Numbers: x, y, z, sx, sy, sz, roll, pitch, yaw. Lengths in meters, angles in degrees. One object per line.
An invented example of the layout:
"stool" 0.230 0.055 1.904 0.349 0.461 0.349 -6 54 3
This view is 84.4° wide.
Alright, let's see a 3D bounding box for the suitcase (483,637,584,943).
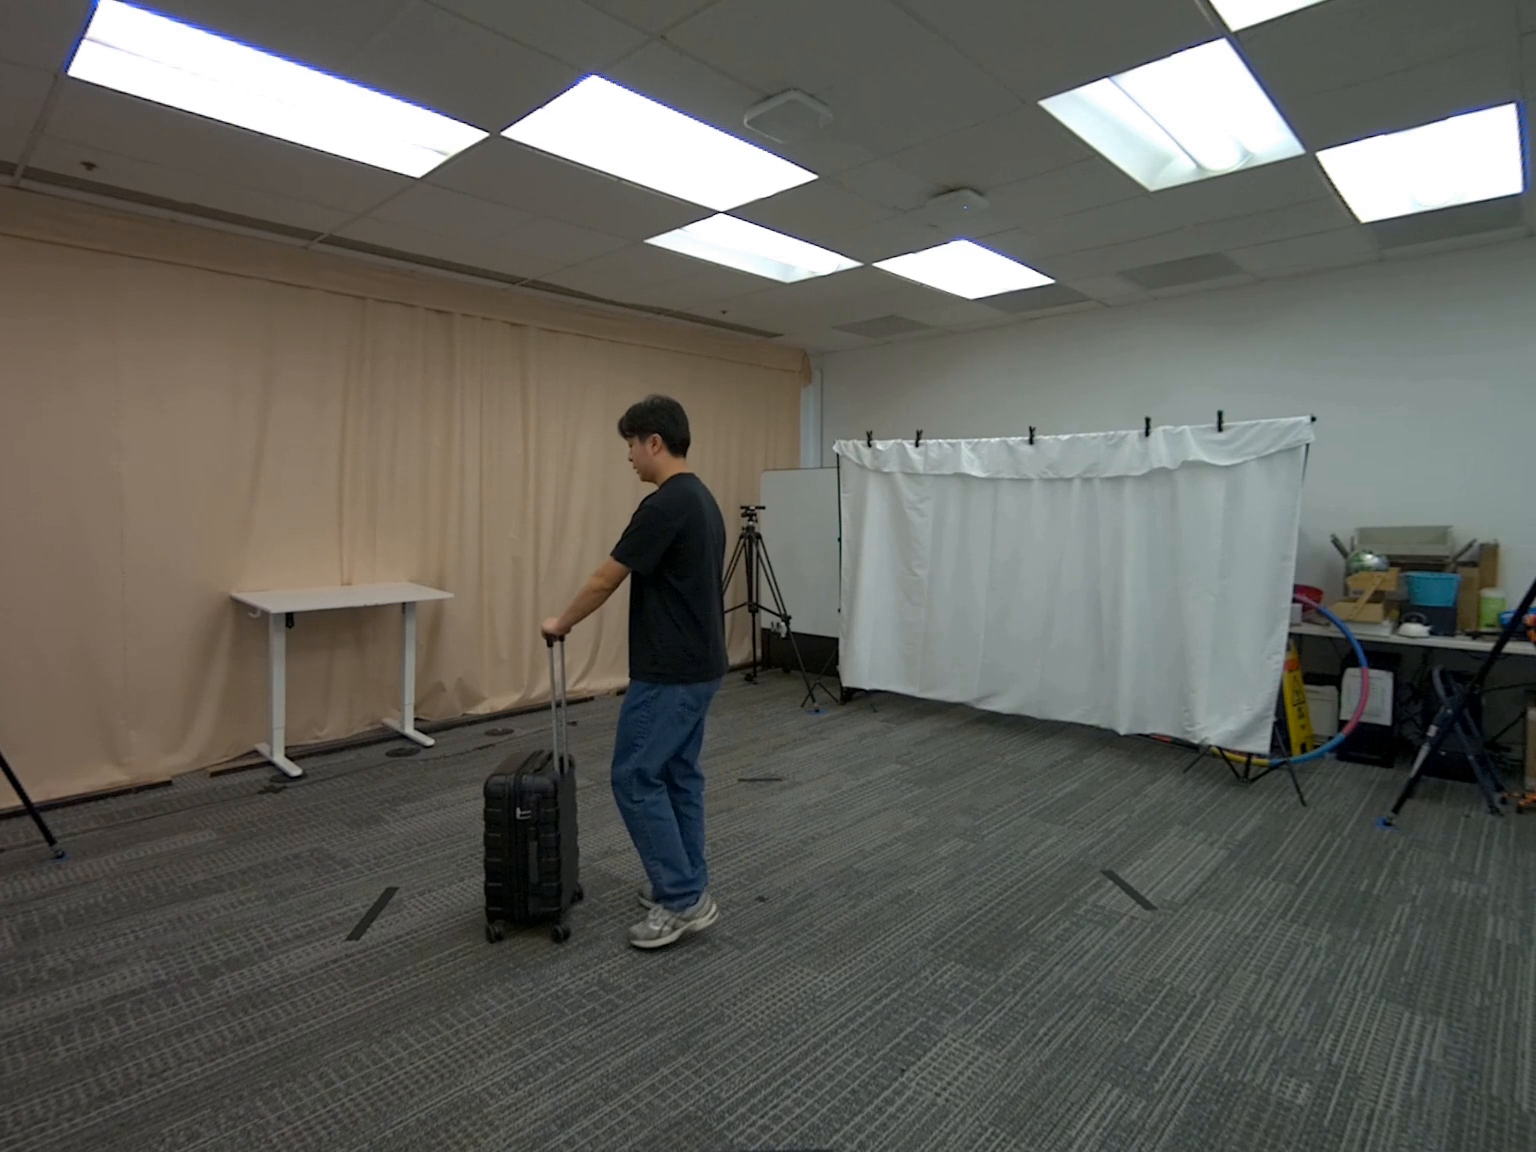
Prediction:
"suitcase" -0.810 0.689 2.851 0.257 0.978 0.384 -4 1 0
